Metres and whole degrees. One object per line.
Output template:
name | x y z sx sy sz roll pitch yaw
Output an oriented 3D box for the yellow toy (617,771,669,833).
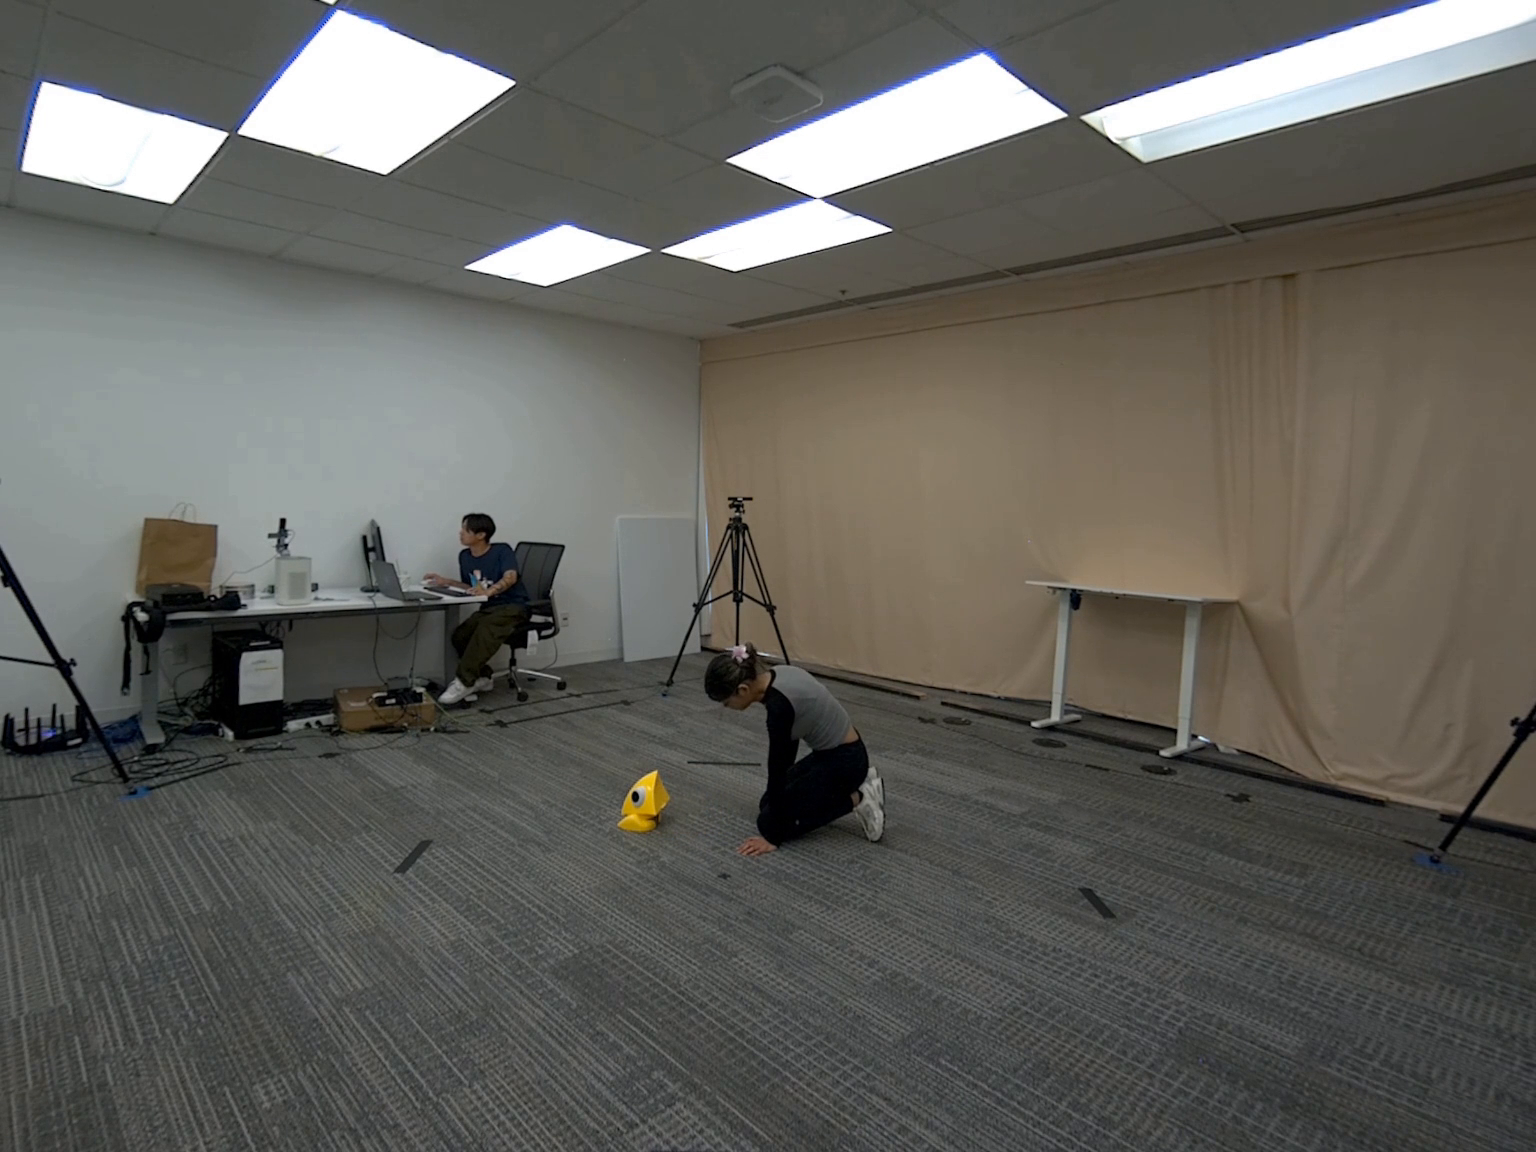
yellow toy | -0.547 0.938 3.595 0.195 0.230 0.203 5 5 12
